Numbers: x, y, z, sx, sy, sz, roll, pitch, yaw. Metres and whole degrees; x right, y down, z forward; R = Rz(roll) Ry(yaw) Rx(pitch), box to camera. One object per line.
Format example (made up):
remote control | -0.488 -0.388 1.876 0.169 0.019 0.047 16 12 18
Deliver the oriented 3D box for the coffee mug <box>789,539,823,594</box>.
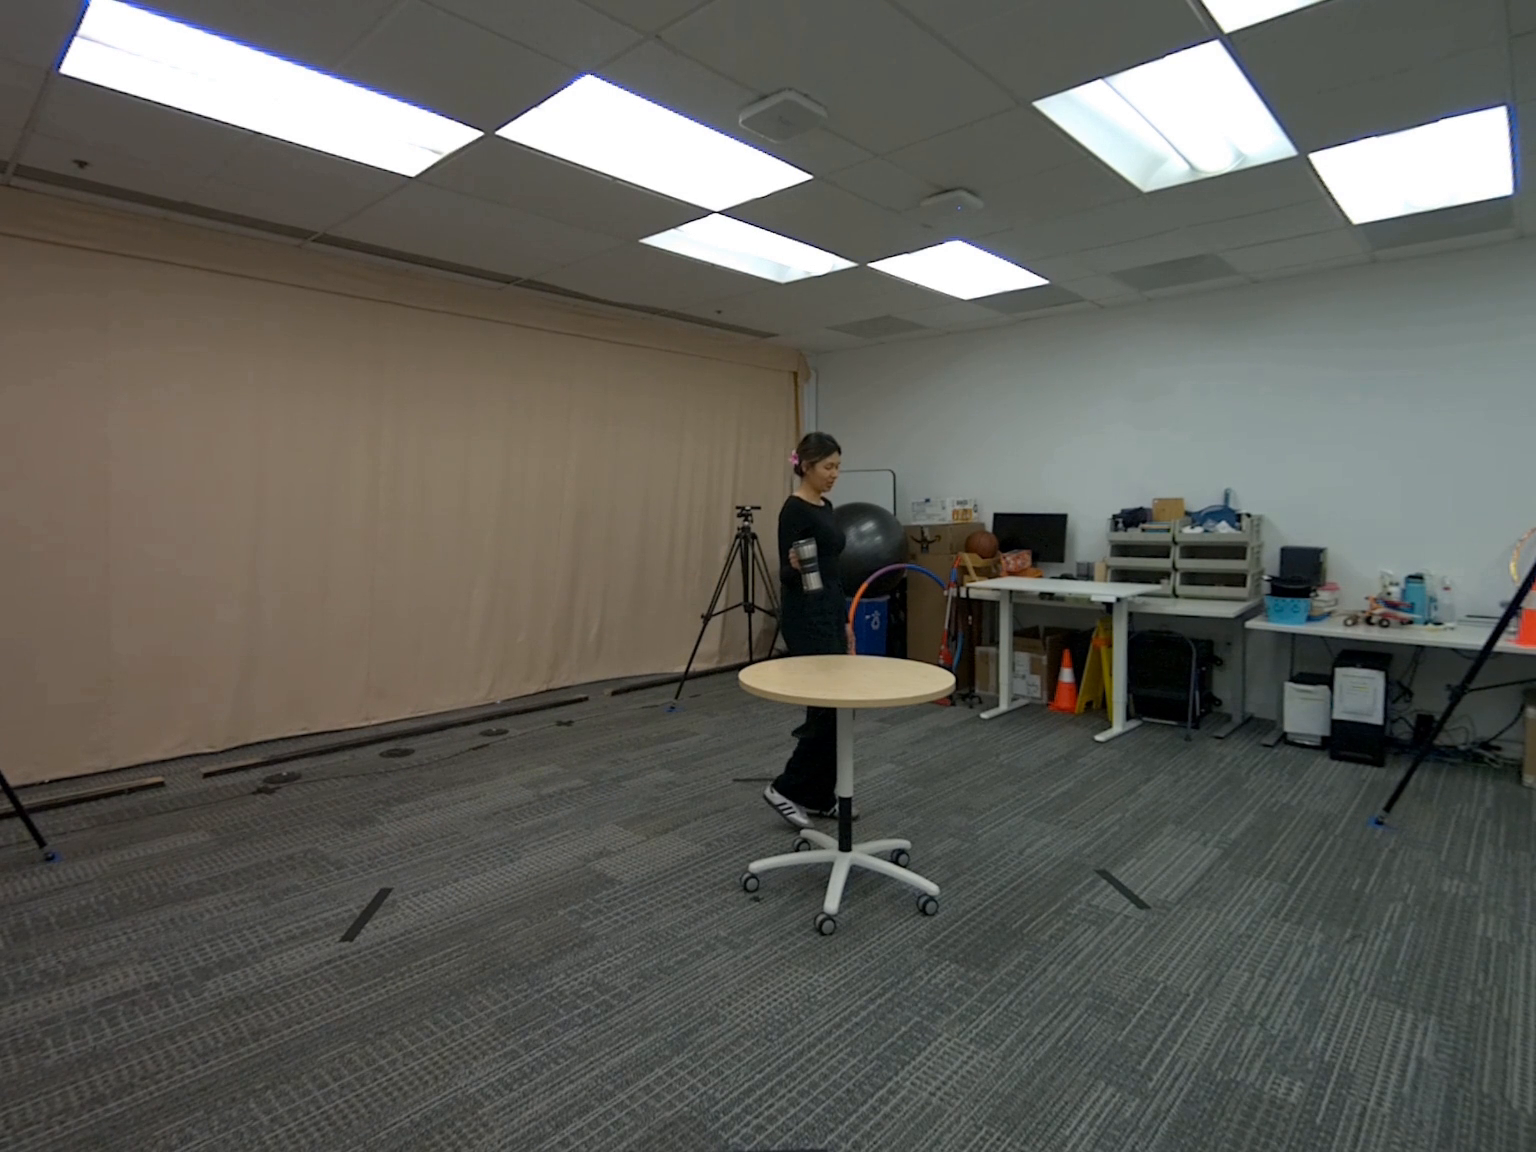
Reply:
coffee mug | 0.173 -0.044 3.231 0.090 0.203 0.119 -12 2 29
